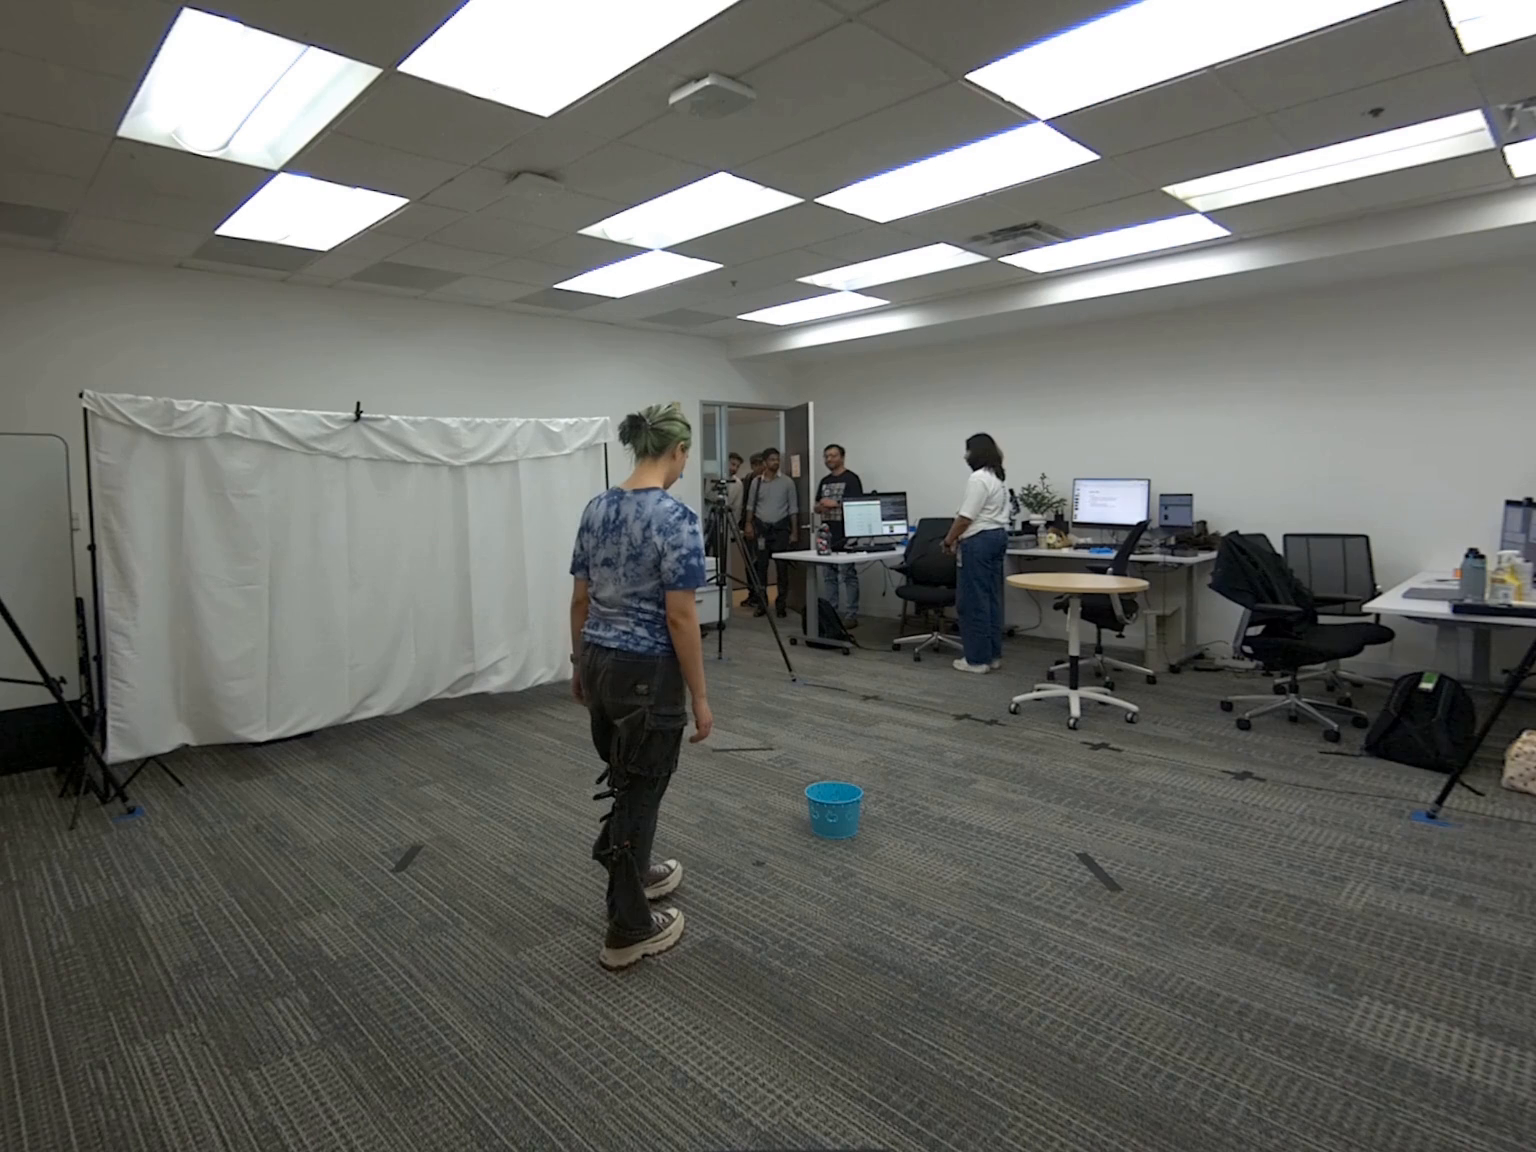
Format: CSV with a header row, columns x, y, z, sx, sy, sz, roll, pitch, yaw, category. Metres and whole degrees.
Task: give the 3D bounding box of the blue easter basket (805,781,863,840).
x,y,z,sx,sy,sz,roll,pitch,yaw,category
0.271,0.931,3.399,0.243,0.155,0.245,-2,5,-2,blue easter basket
